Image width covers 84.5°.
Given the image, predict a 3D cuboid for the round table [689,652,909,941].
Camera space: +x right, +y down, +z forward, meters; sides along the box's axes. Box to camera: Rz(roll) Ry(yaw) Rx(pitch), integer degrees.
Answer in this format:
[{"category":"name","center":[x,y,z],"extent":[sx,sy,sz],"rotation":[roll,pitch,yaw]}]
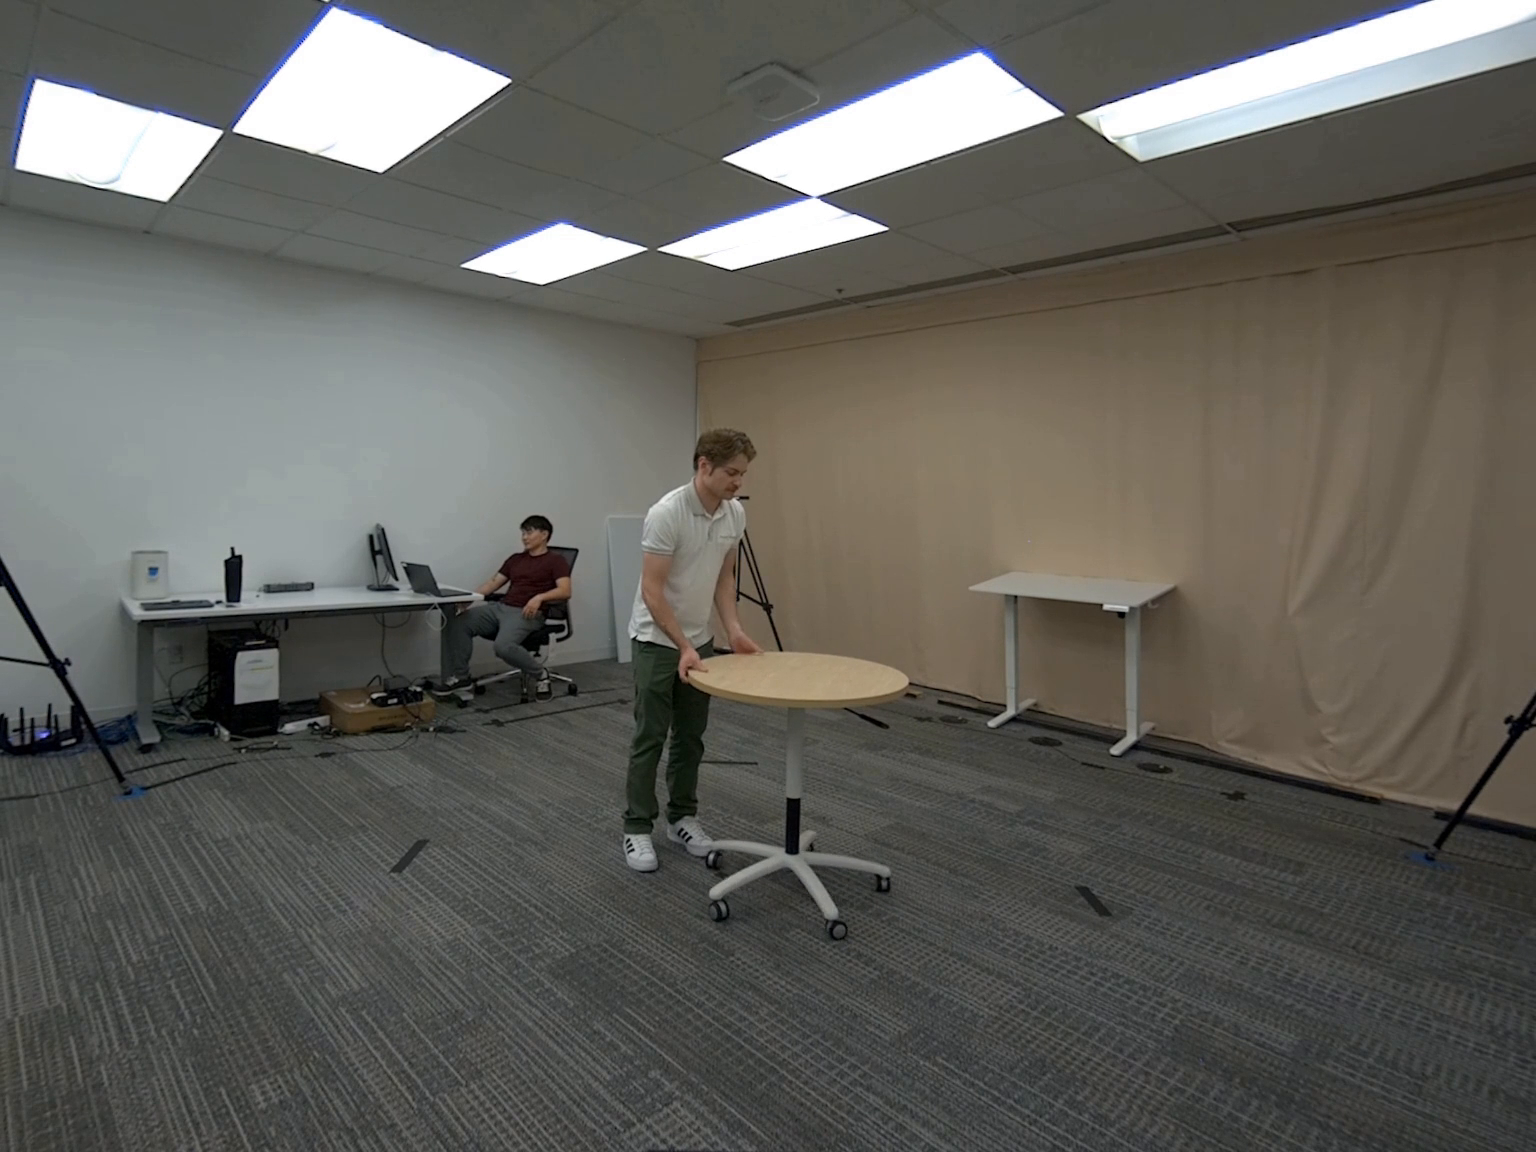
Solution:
[{"category":"round table","center":[0.082,0.733,2.961],"extent":[0.763,0.791,0.767],"rotation":[1,5,-1]}]
